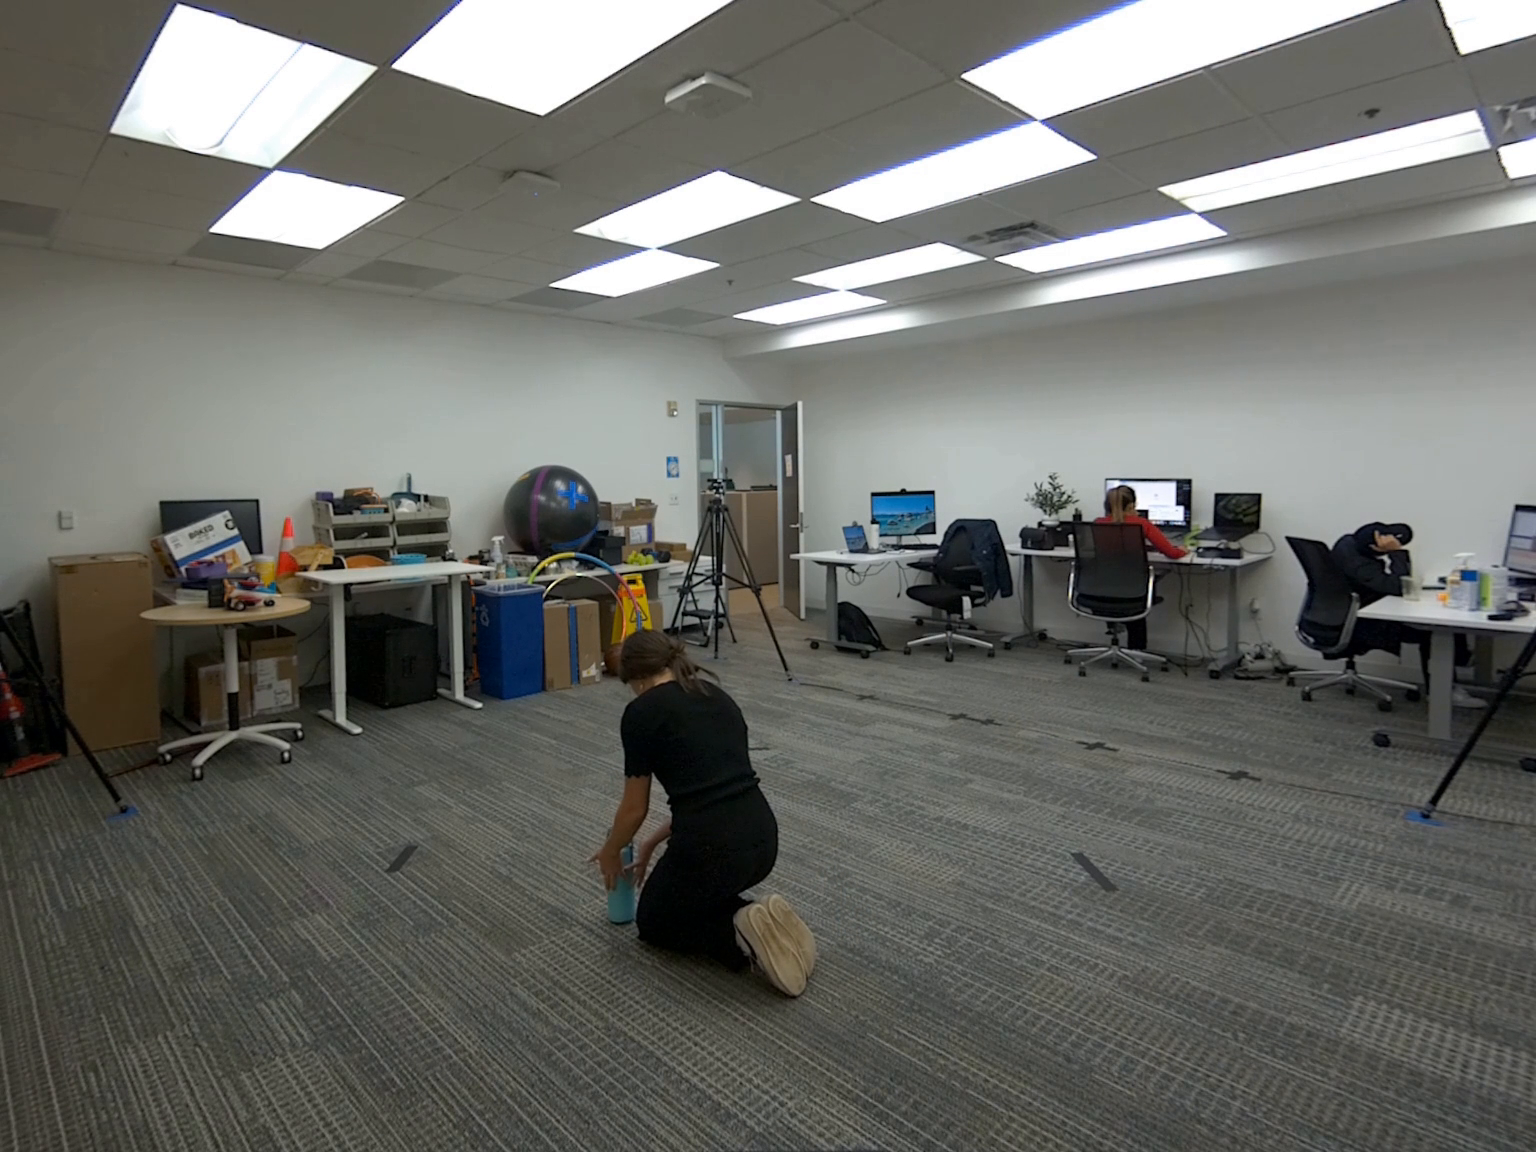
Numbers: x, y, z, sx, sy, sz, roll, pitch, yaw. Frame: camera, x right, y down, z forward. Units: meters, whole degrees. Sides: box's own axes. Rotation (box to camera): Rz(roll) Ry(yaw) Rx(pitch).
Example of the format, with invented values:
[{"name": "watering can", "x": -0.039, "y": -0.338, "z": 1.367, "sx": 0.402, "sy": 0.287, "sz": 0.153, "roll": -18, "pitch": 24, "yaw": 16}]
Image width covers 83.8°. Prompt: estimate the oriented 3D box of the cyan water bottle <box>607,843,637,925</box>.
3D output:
[{"name": "cyan water bottle", "x": -0.471, "y": 0.958, "z": 2.742, "sx": 0.092, "sy": 0.284, "sz": 0.092, "roll": -2, "pitch": -4, "yaw": -2}]
